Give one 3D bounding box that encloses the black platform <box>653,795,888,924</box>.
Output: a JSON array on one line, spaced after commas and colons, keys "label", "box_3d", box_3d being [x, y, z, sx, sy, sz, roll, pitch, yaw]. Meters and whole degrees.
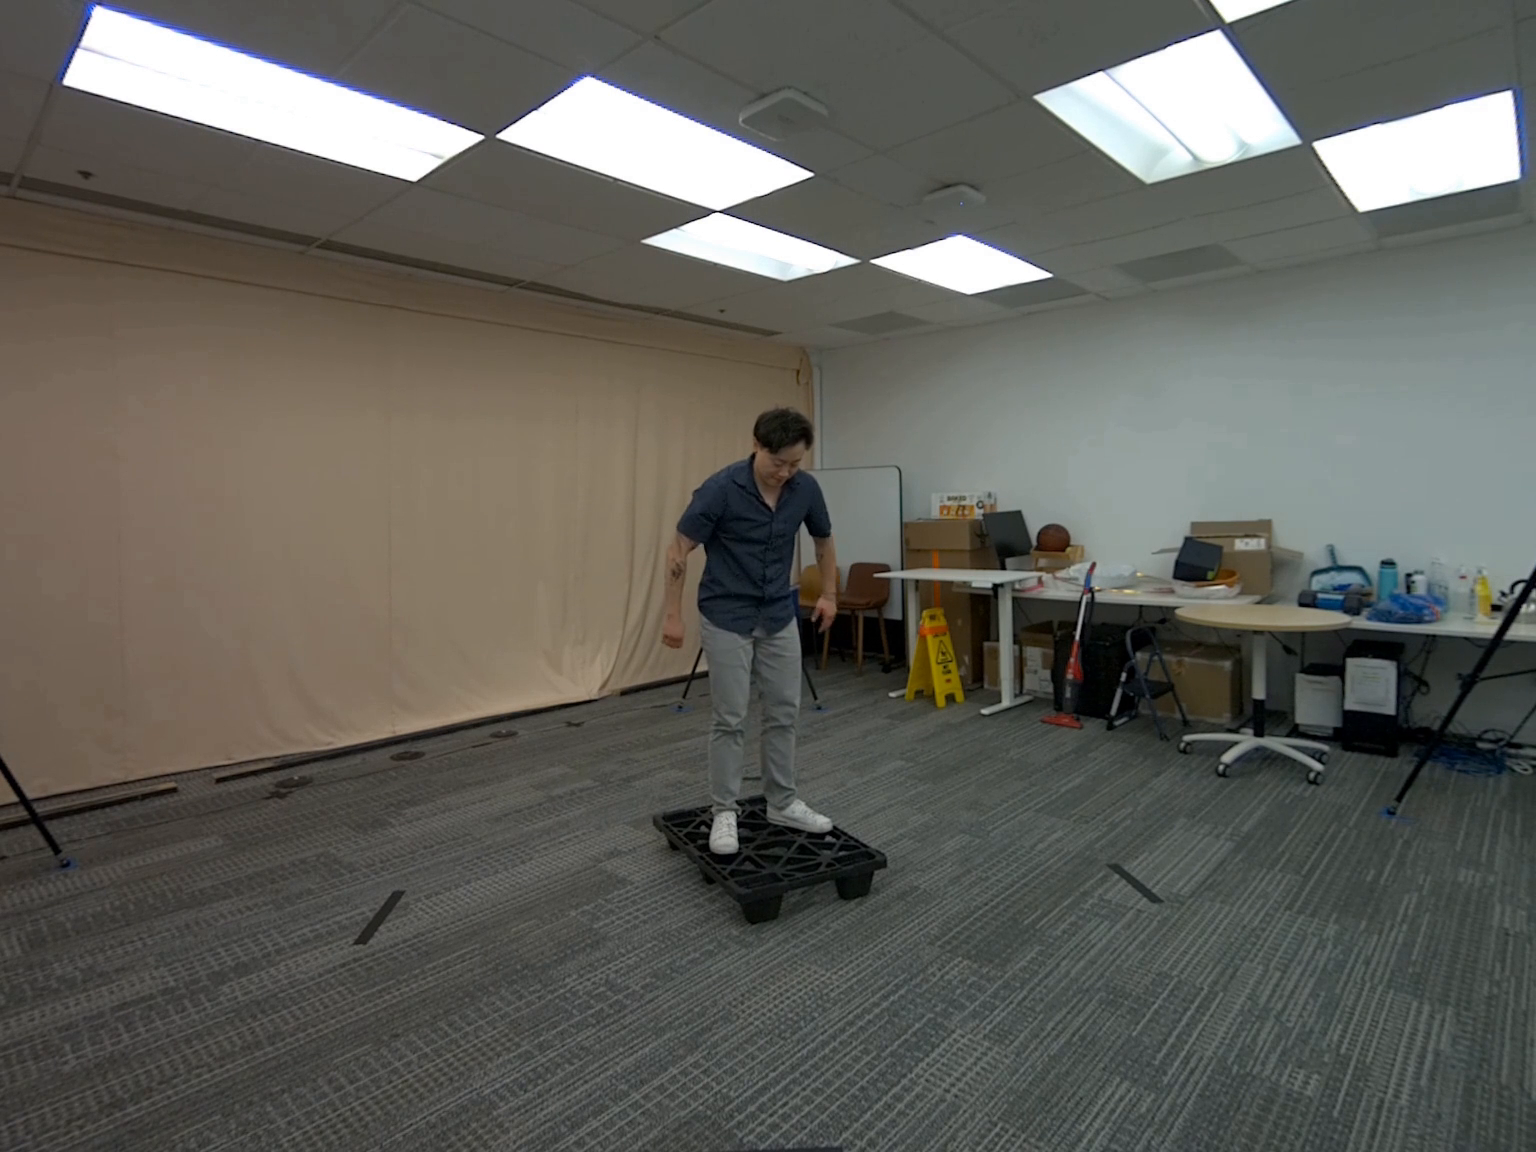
[{"label": "black platform", "box_3d": [-0.019, 1.052, 3.215, 0.590, 0.143, 0.827, -3, 5, -27]}]
